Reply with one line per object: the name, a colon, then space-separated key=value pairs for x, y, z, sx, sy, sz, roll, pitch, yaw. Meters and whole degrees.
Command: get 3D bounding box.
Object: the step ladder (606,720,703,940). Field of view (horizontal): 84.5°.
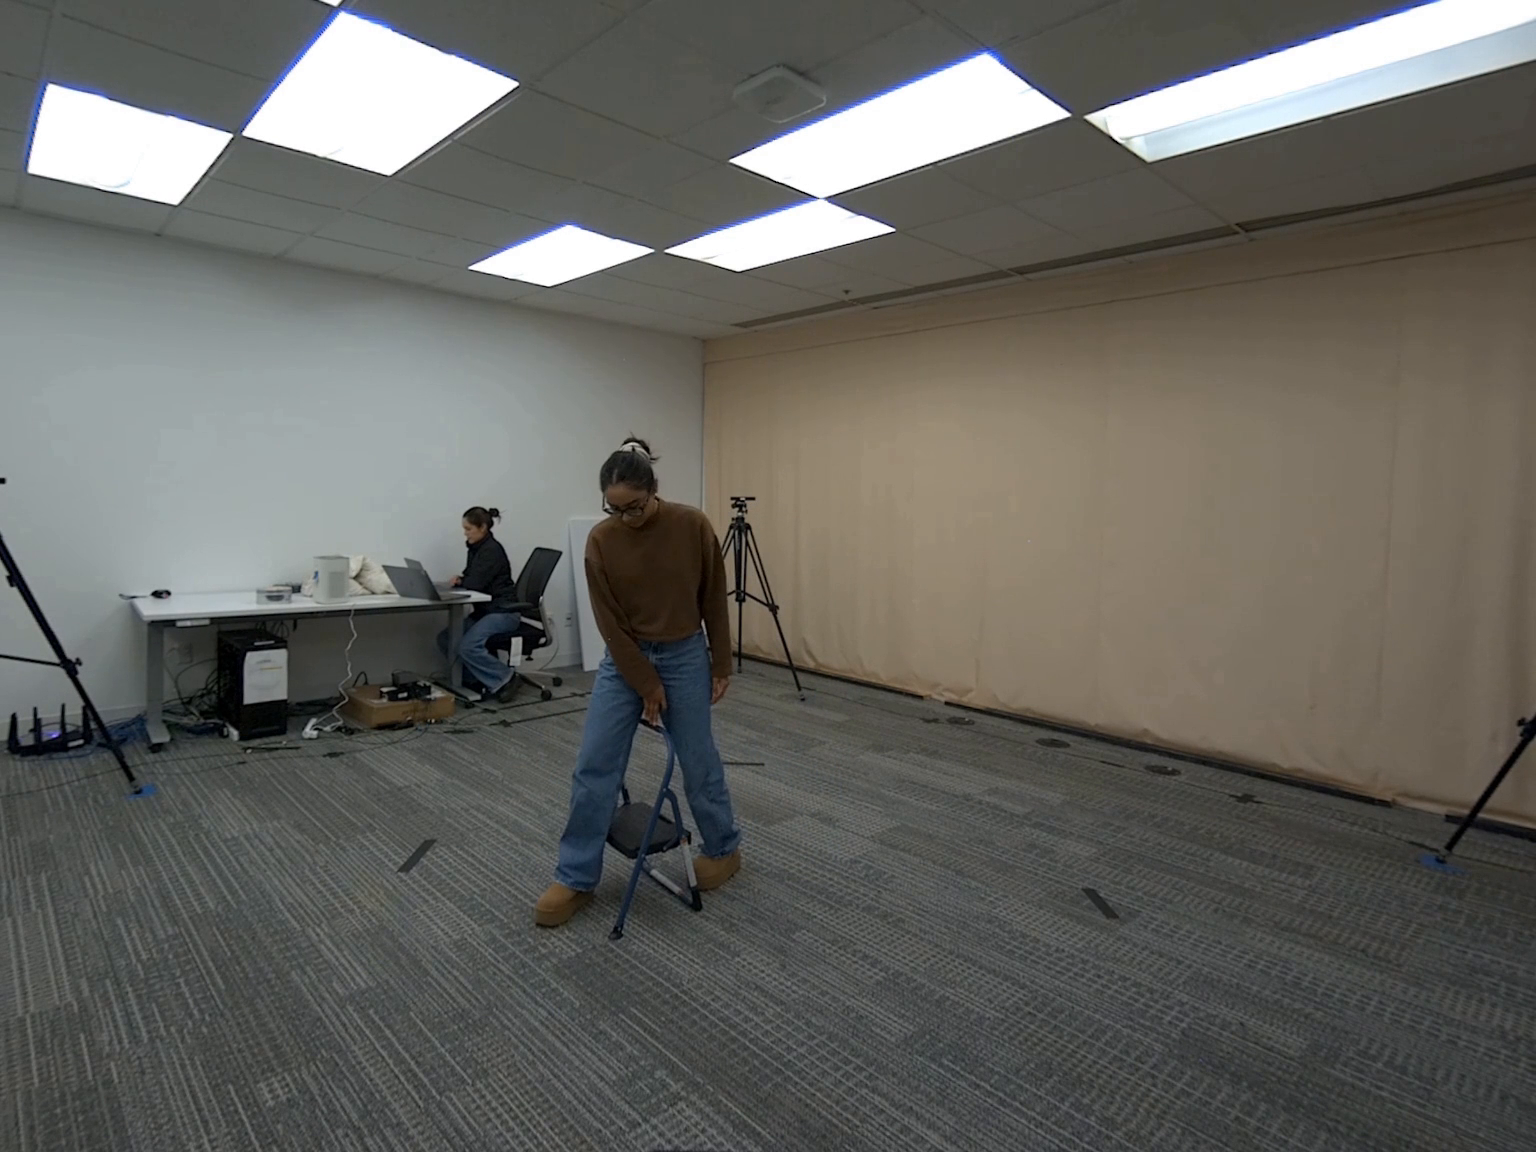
step ladder: x=-0.473 y=0.815 z=2.888 sx=0.341 sy=0.605 sz=0.441 roll=-1 pitch=4 yaw=-37
